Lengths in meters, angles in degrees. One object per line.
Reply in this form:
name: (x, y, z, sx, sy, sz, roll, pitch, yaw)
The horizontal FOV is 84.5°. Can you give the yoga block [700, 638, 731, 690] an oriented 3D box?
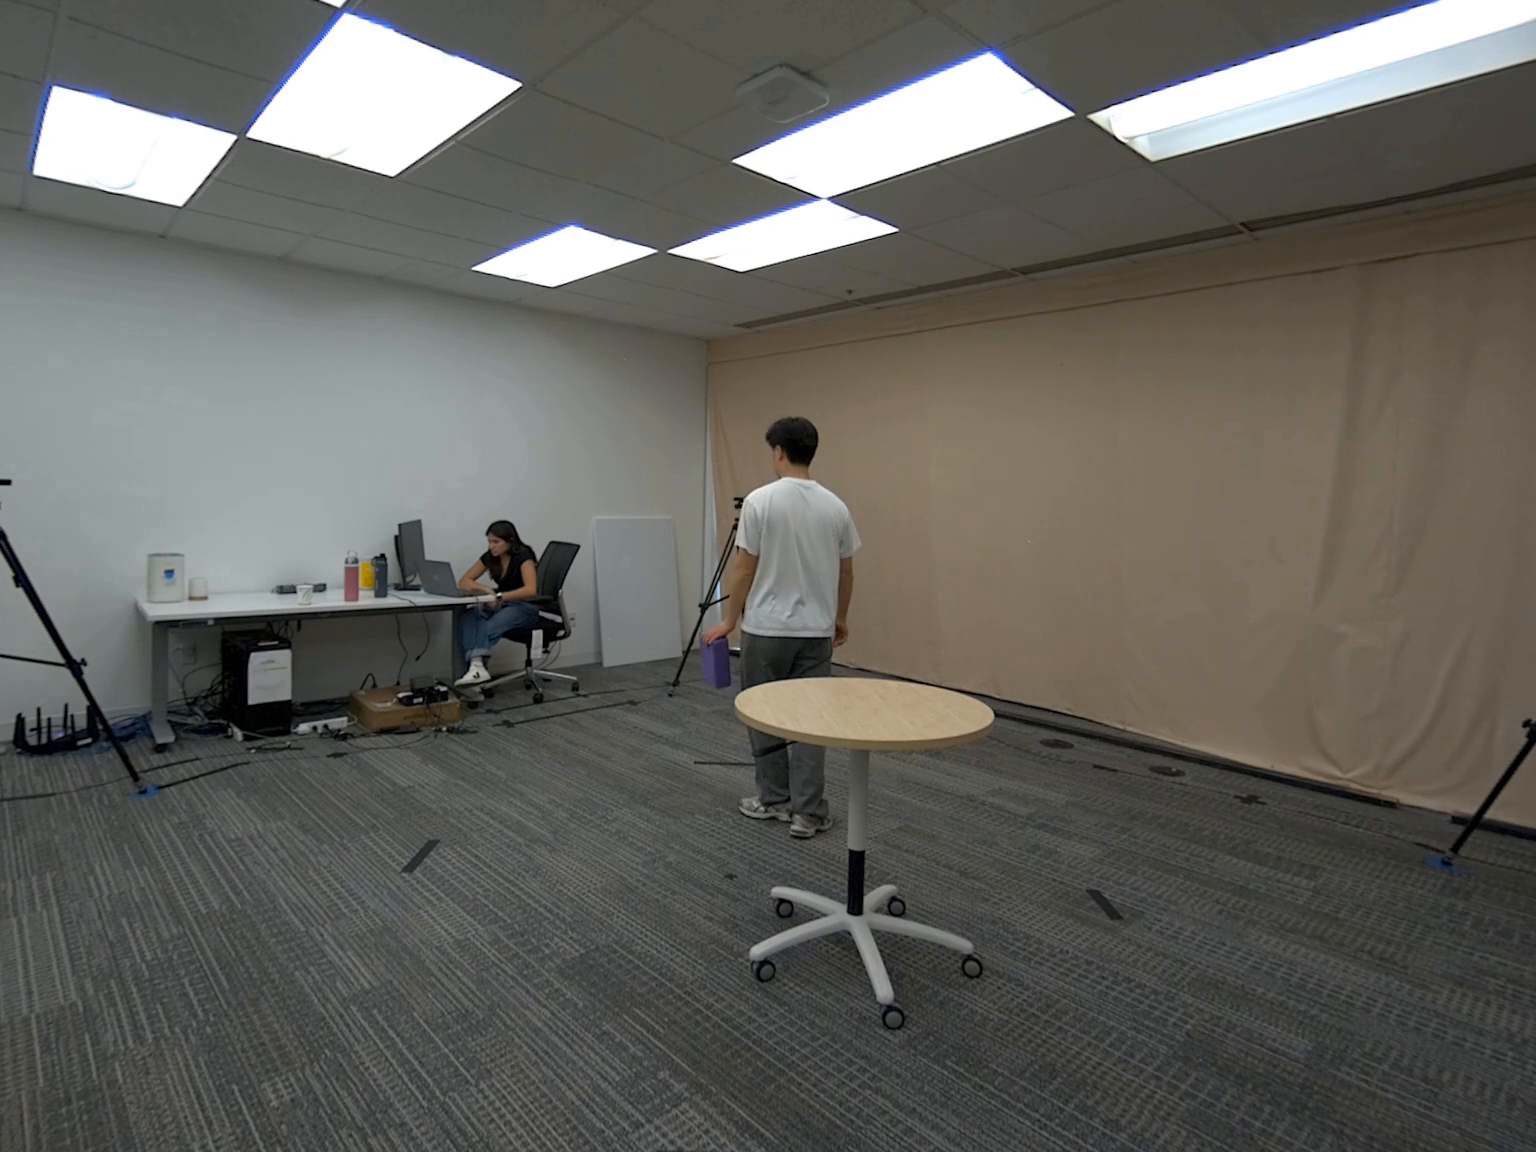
yoga block: (-0.233, 0.362, 3.688, 0.075, 0.227, 0.153, -10, 17, -27)
